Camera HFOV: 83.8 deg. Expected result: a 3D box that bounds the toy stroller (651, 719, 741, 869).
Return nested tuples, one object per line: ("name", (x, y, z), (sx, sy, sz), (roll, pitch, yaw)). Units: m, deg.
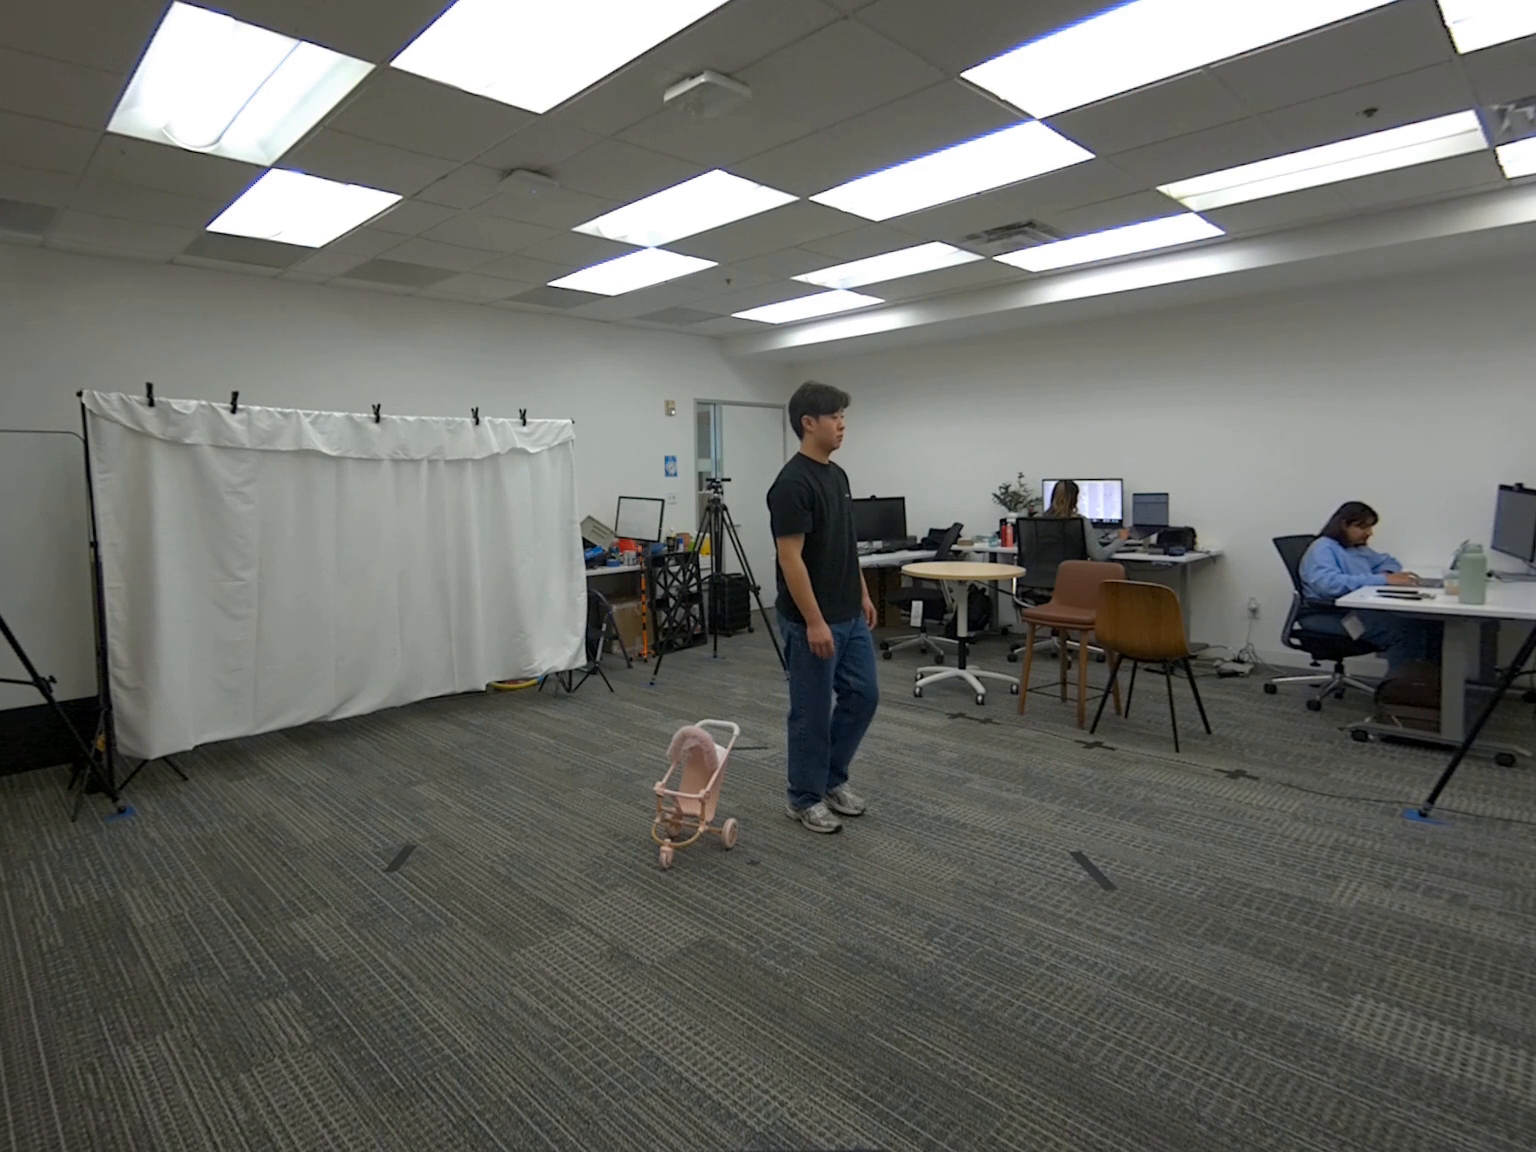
("toy stroller", (-0.286, 0.808, 3.227), (0.289, 0.539, 0.330), (1, -12, 31))
